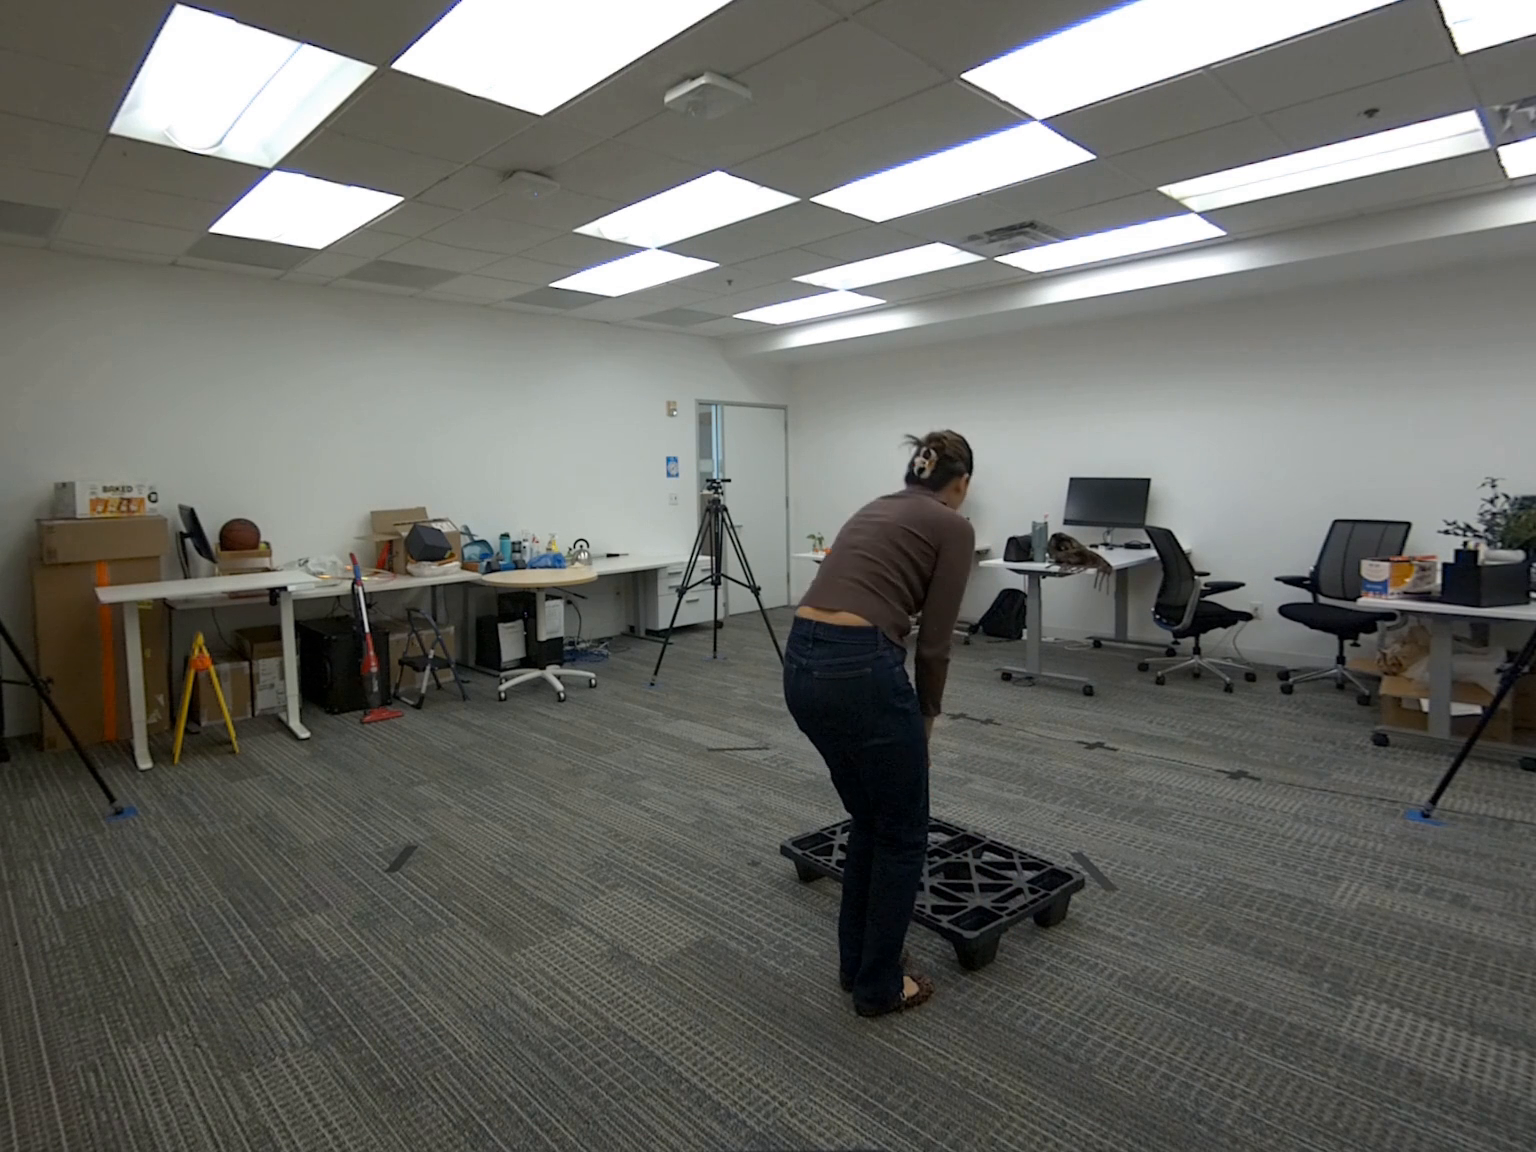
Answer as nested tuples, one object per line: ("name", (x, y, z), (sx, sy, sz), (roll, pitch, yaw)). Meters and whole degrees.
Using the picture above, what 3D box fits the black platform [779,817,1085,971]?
("black platform", (0.522, 0.999, 2.822), (0.590, 0.142, 0.830), (-7, 8, -38))
